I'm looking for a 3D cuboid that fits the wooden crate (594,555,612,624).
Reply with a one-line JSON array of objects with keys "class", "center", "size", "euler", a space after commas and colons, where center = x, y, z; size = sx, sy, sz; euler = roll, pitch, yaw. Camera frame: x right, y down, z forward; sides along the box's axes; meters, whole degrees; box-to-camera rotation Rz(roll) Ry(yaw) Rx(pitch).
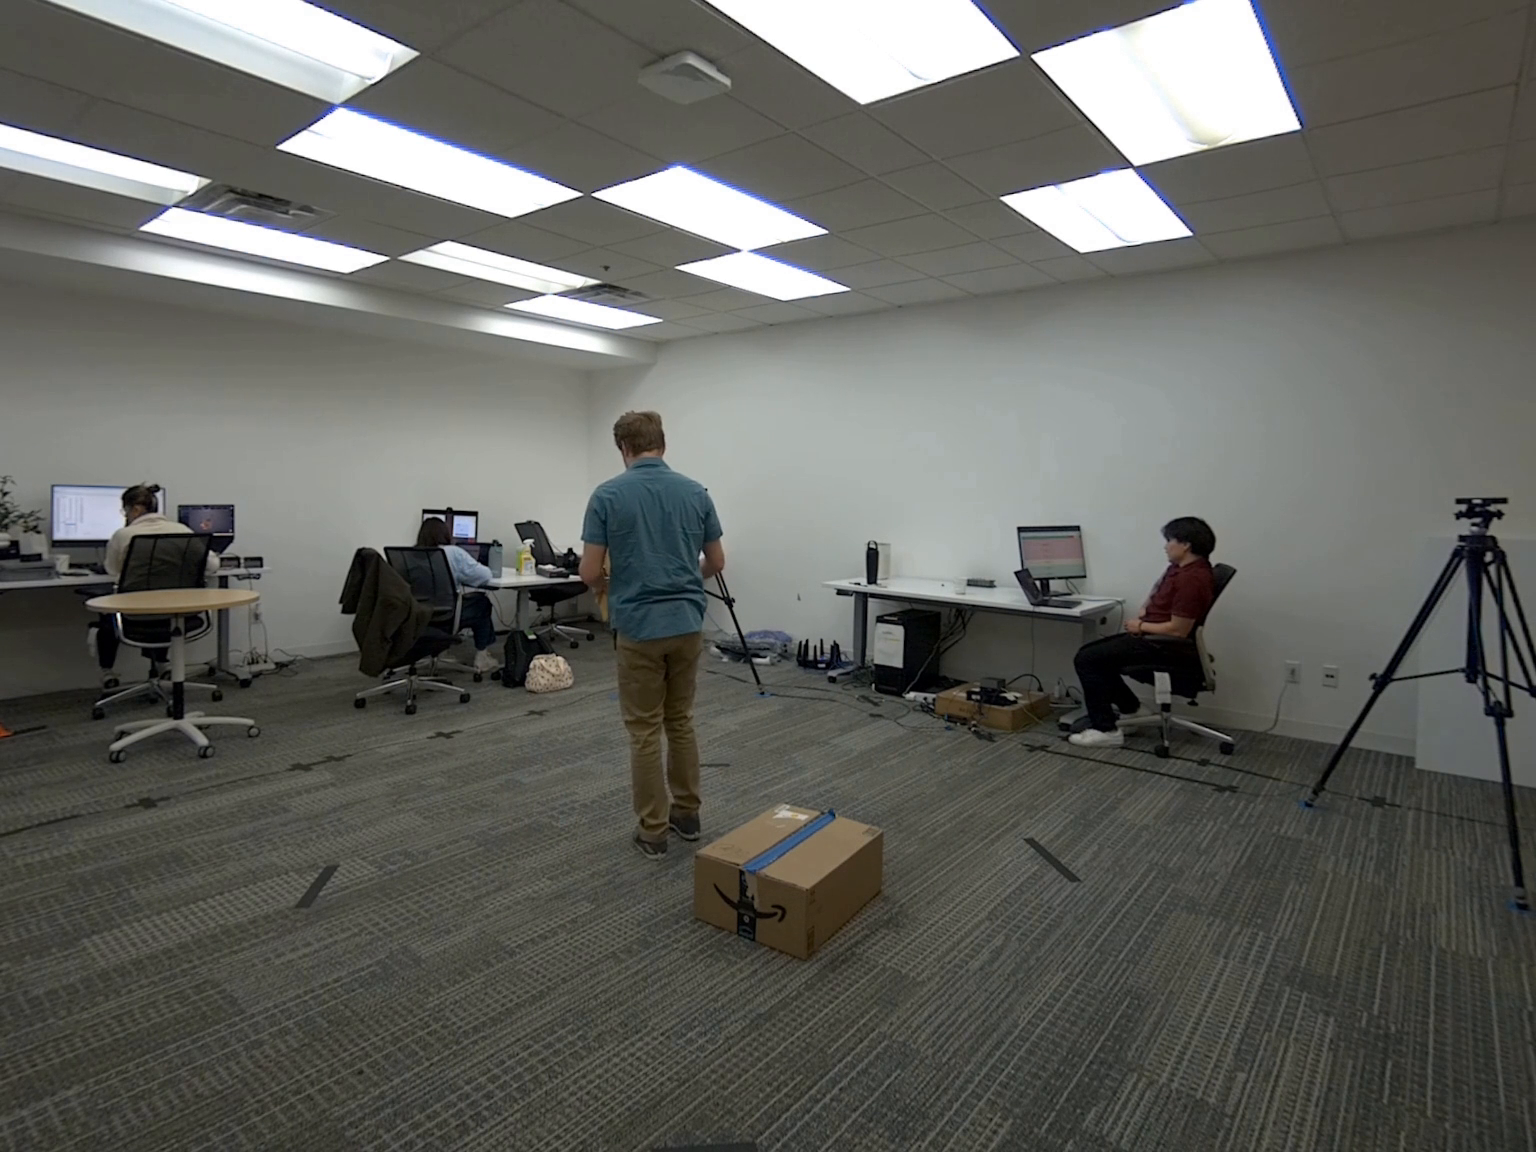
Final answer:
[{"class": "wooden crate", "center": [-0.531, -0.007, 3.521], "size": [0.316, 0.270, 0.314], "euler": [0, 44, -29]}]
